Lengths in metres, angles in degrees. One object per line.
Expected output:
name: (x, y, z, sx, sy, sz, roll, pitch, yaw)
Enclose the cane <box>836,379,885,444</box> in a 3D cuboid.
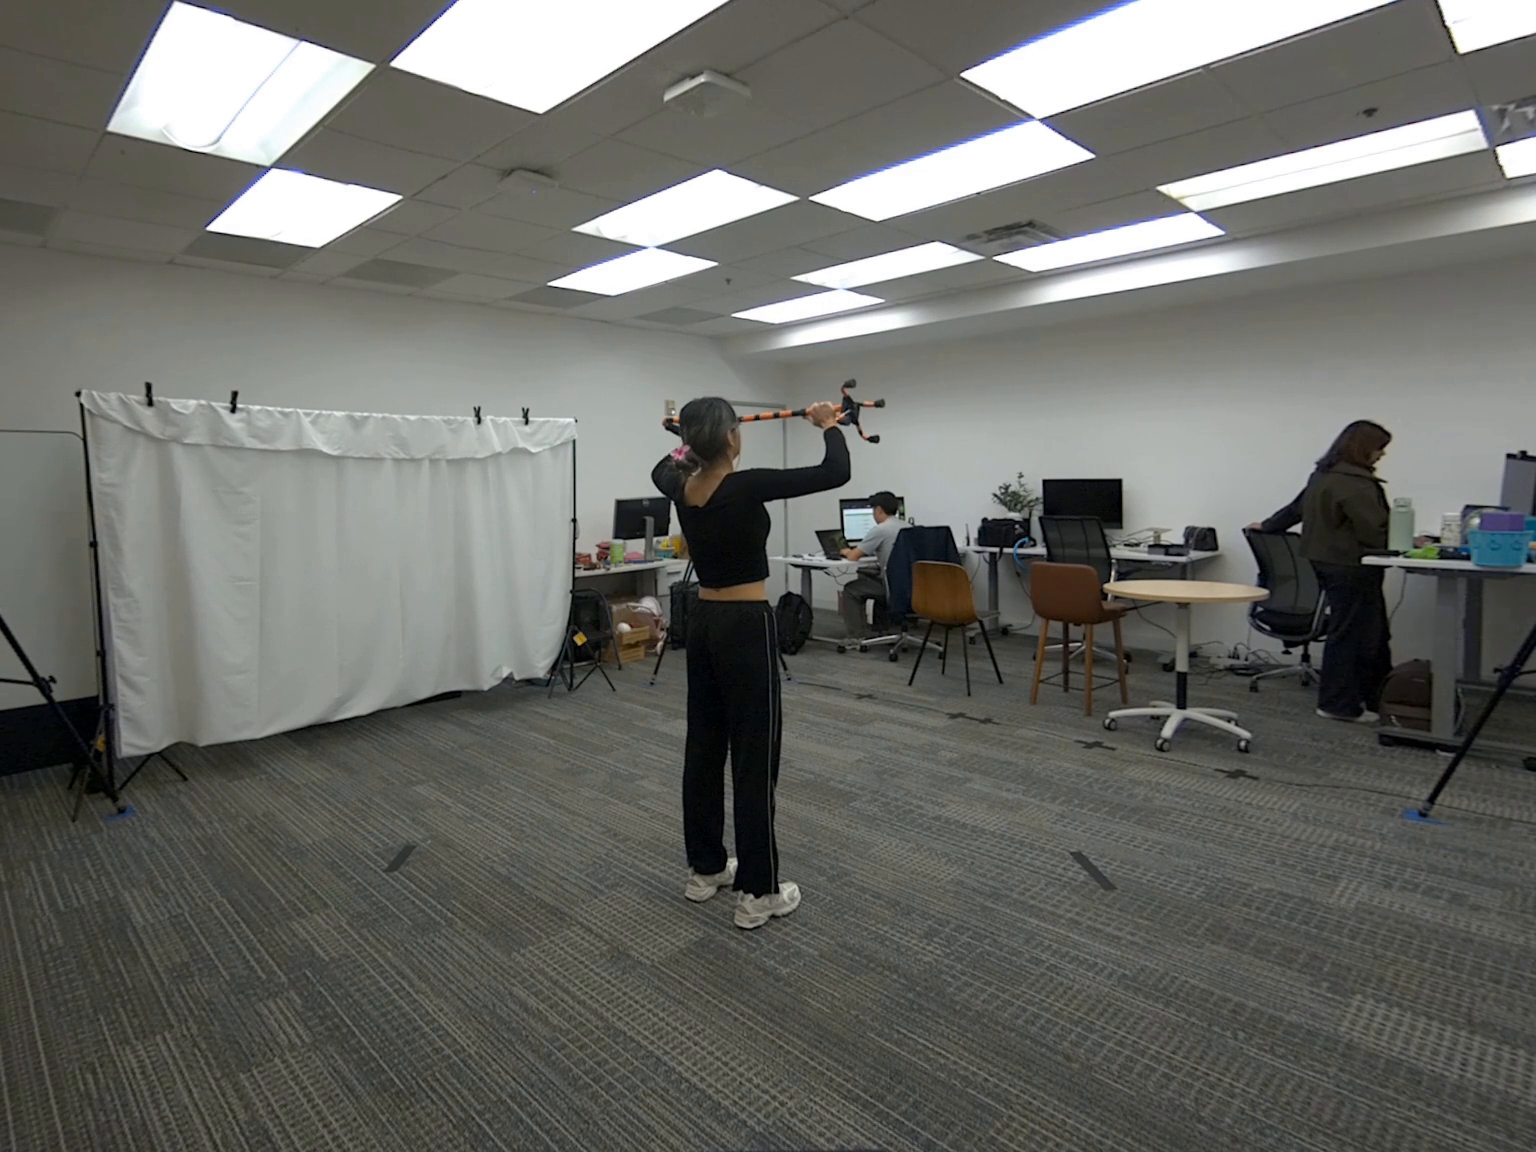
cane: (-0.040, -0.547, 3.014, 0.935, 0.152, 0.199, 4, -10, 41)
